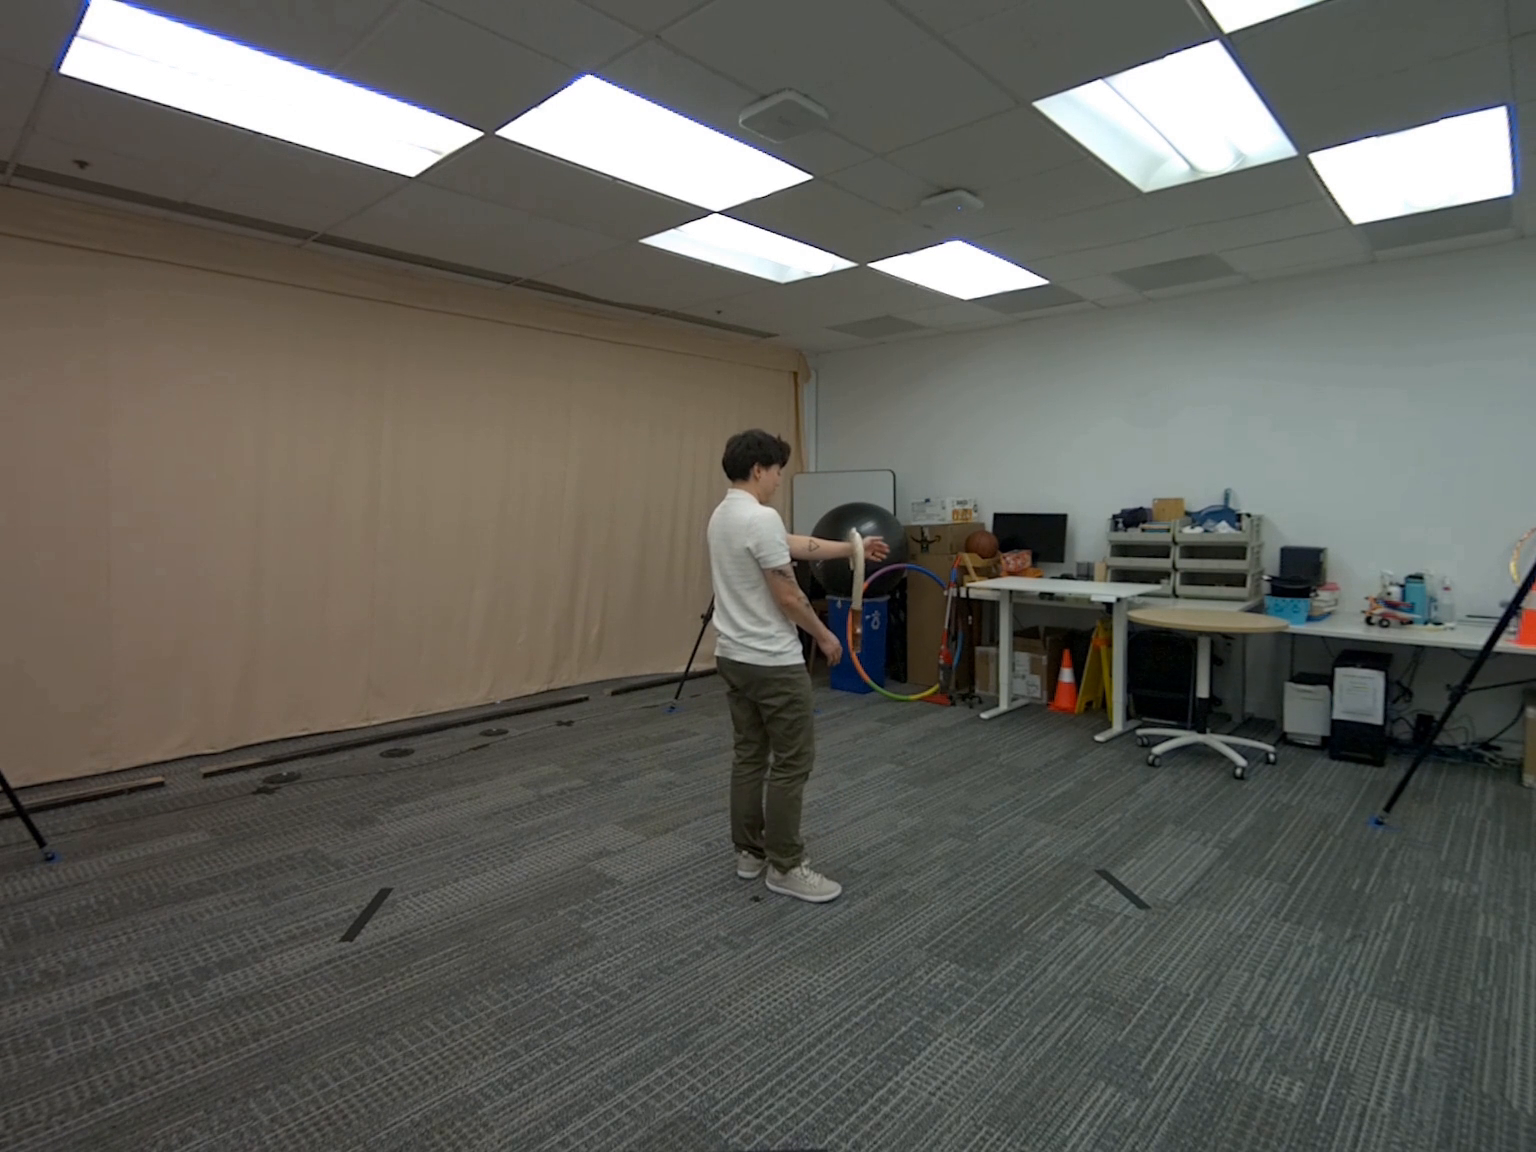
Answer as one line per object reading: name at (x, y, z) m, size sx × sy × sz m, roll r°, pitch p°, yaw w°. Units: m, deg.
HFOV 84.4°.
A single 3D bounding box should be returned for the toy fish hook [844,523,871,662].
toy fish hook at (0.356, 0.063, 3.403) m, size 0.048 × 0.501 × 0.227 m, roll 1°, pitch 18°, yaw -2°
